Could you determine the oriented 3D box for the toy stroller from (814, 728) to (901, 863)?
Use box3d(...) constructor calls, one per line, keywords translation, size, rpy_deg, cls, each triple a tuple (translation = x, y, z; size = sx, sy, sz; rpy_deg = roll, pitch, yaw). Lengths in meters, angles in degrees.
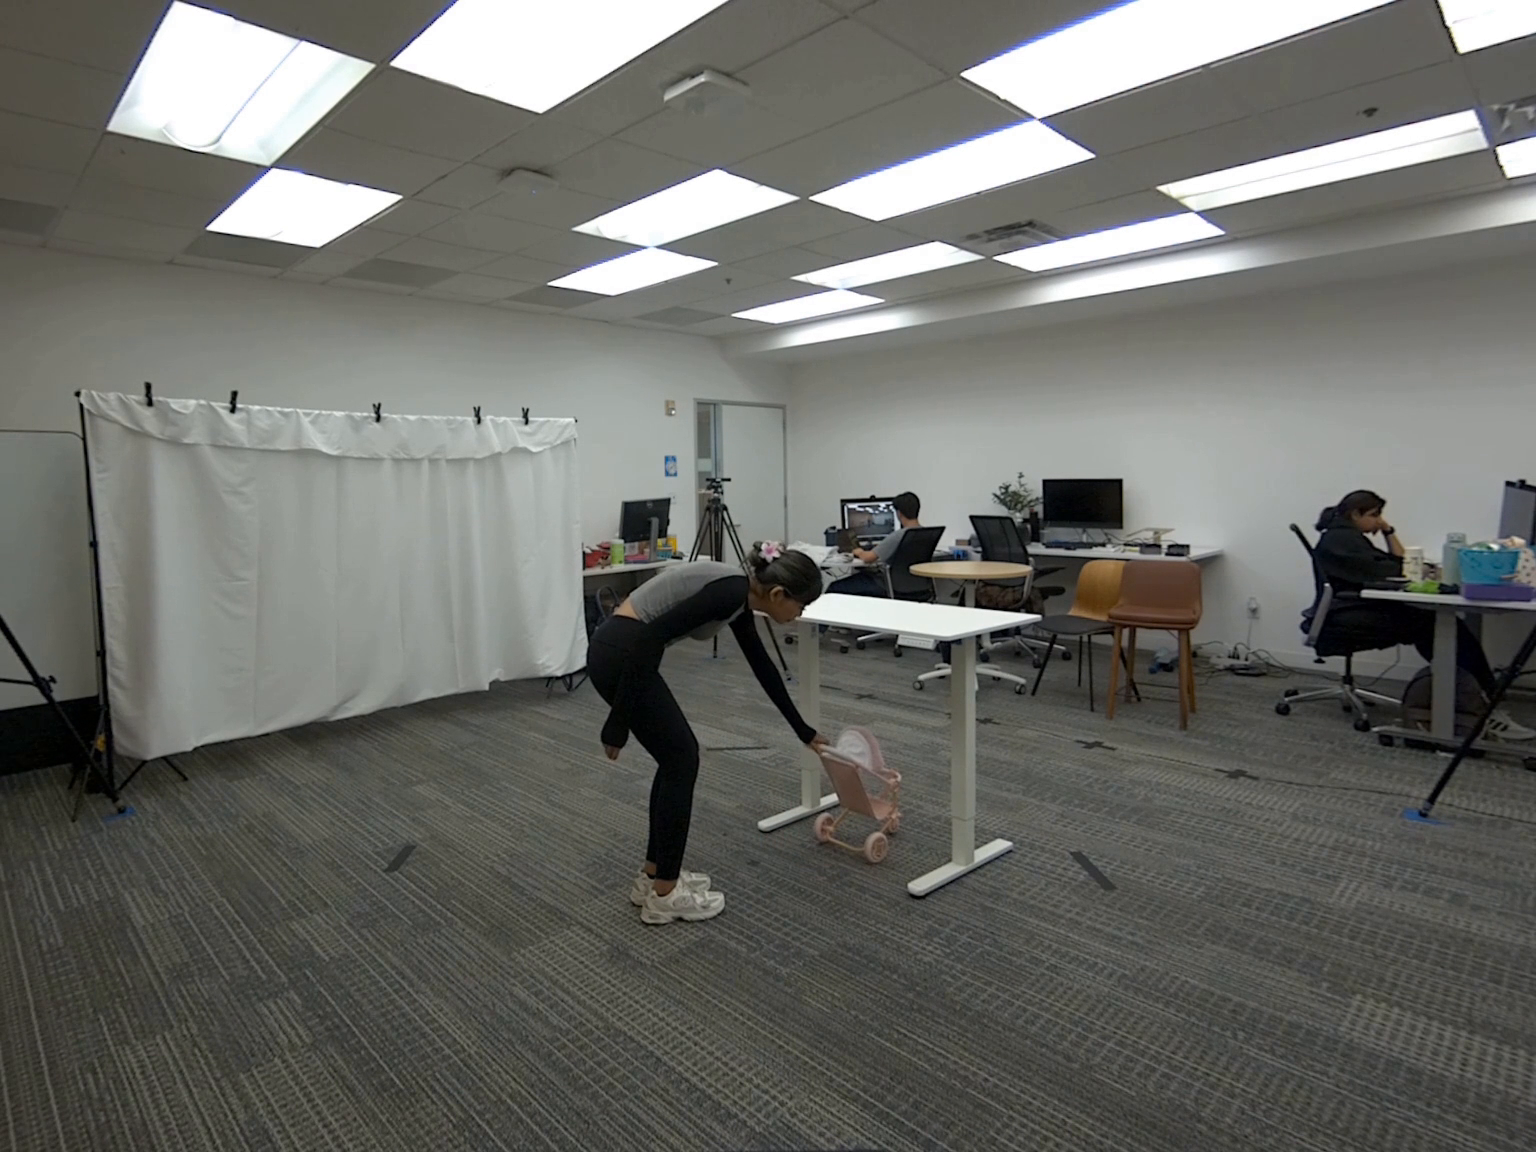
box3d(translation=(0.354, 0.798, 3.210), size=(0.336, 0.528, 0.290), rpy_deg=(-22, 16, -35), cls="toy stroller")
